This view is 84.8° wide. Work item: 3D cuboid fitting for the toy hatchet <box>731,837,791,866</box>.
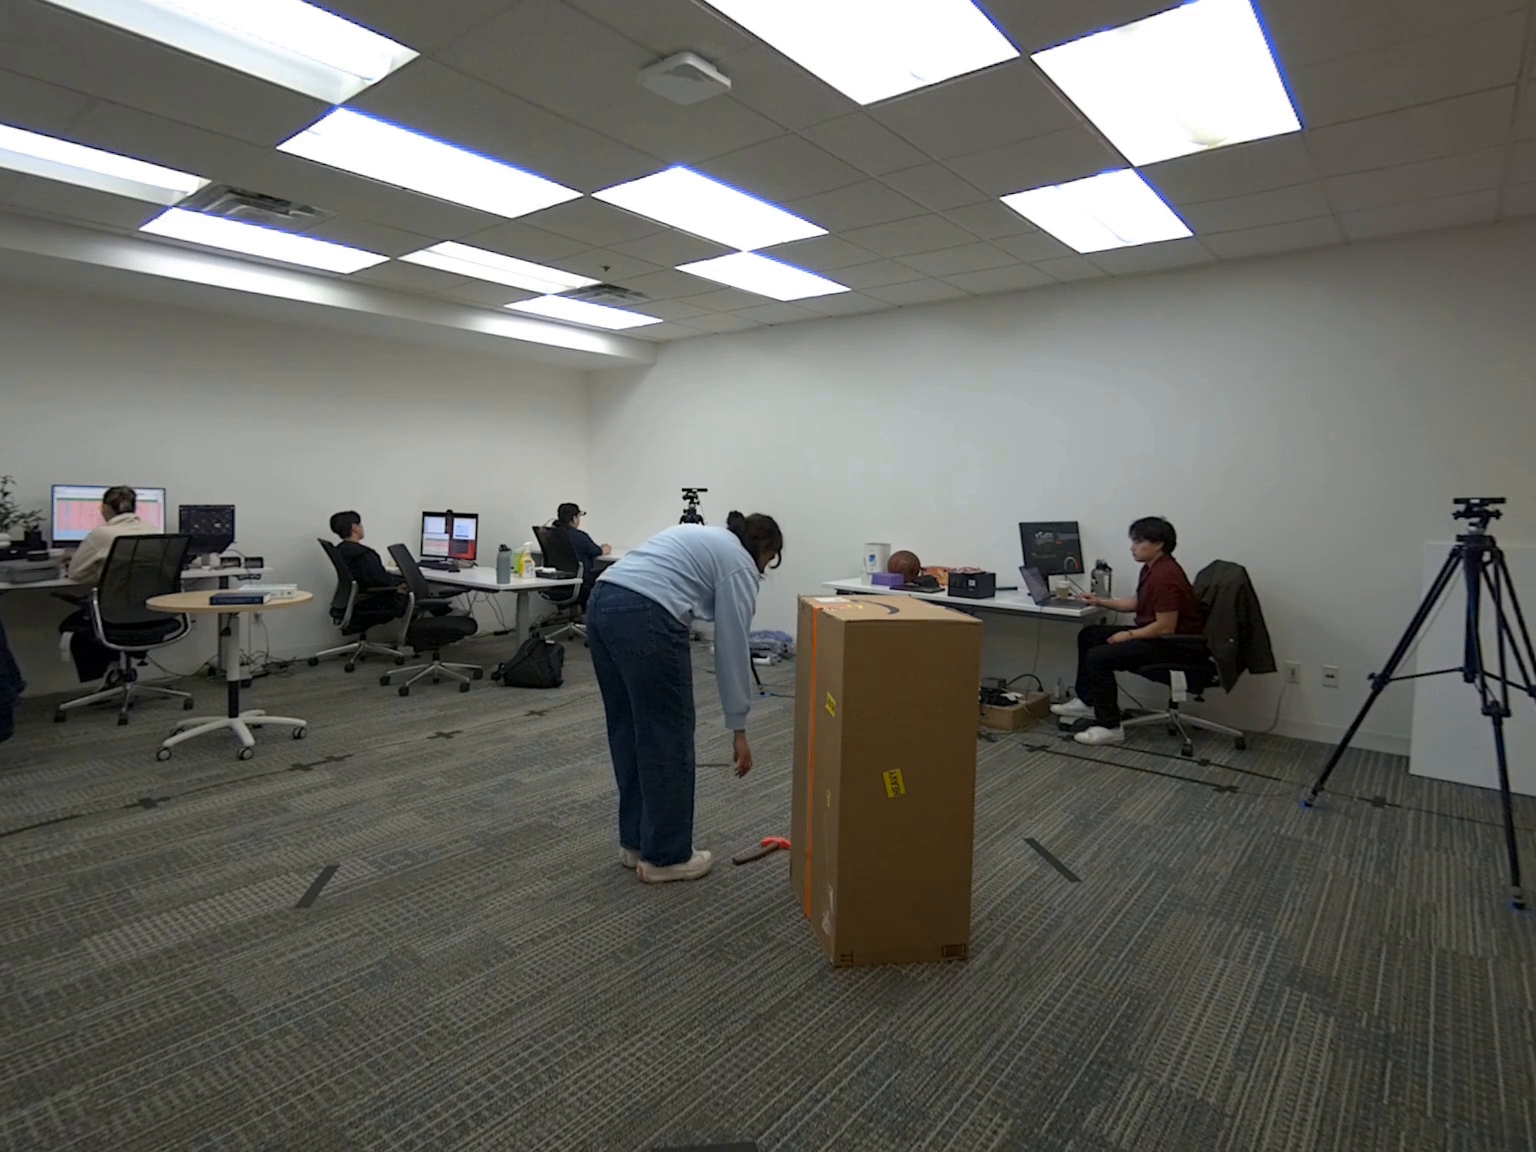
[{"bbox_3d":[-0.050,1.048,3.267,0.263,0.029,0.135,-5,7,-34],"label":"toy hatchet"}]
